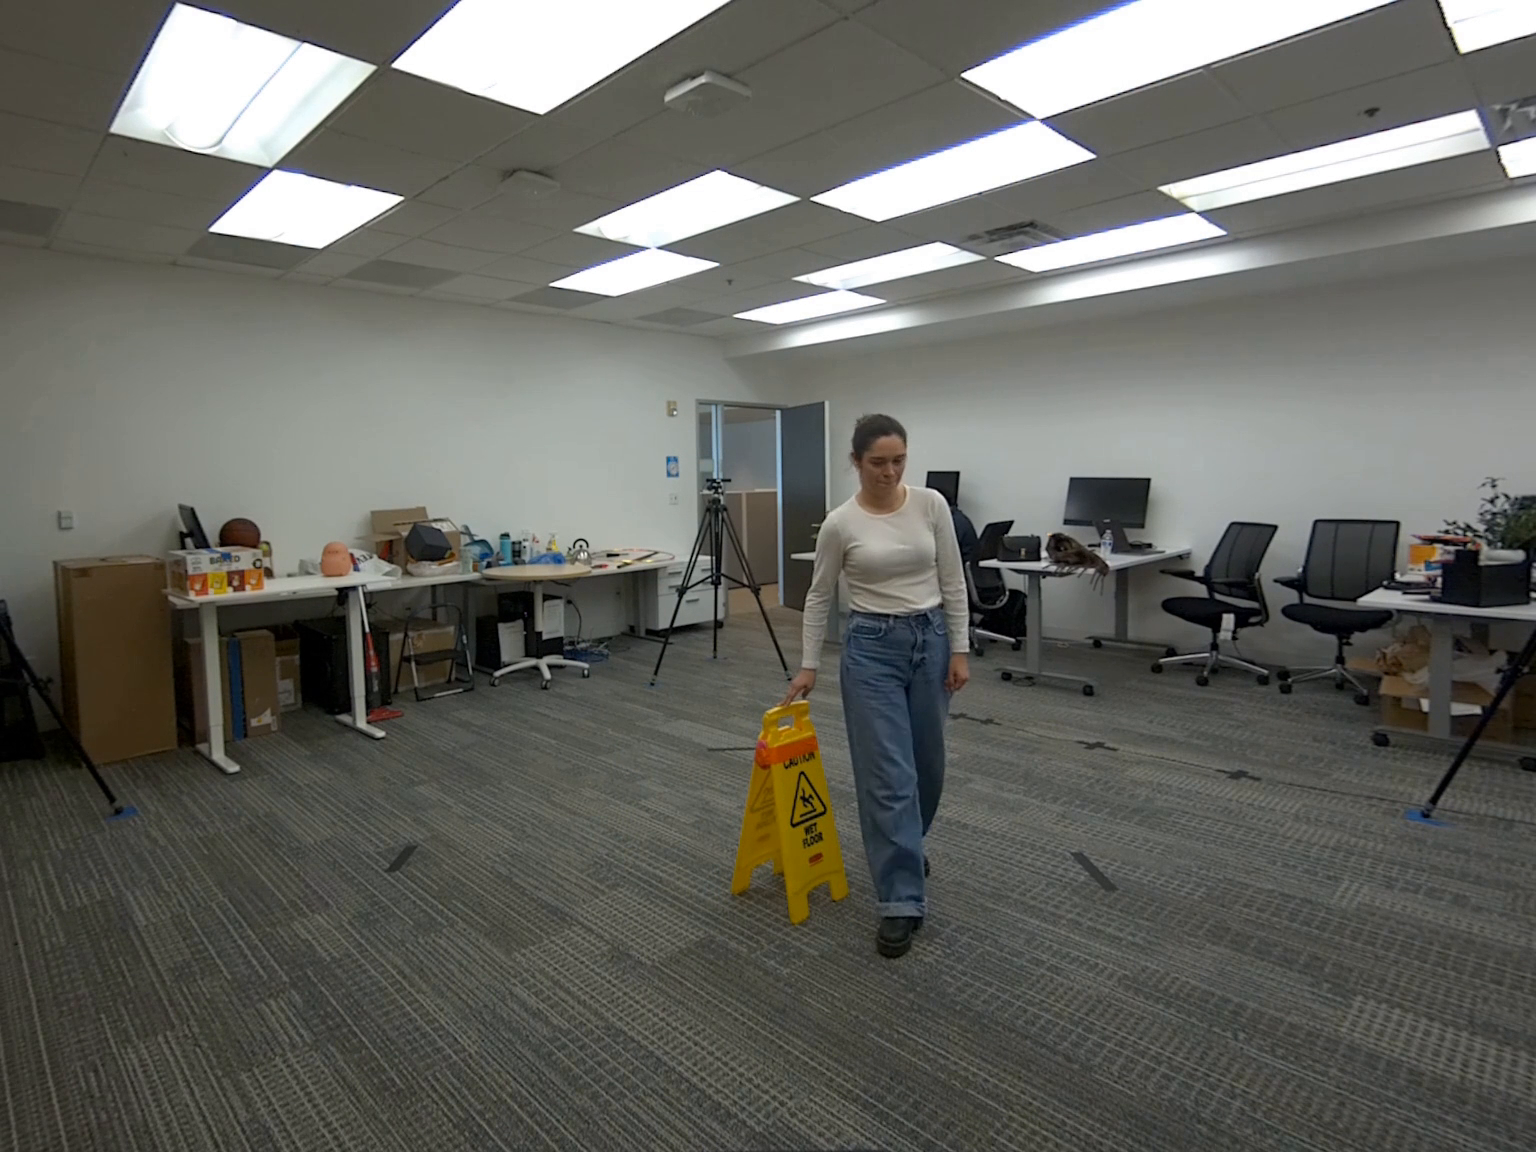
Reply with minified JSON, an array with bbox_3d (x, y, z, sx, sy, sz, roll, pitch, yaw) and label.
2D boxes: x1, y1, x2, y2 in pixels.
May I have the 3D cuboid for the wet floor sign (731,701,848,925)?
[{"bbox_3d":[0.072,0.747,2.844,0.299,0.643,0.275,4,7,45],"label":"wet floor sign"}]
